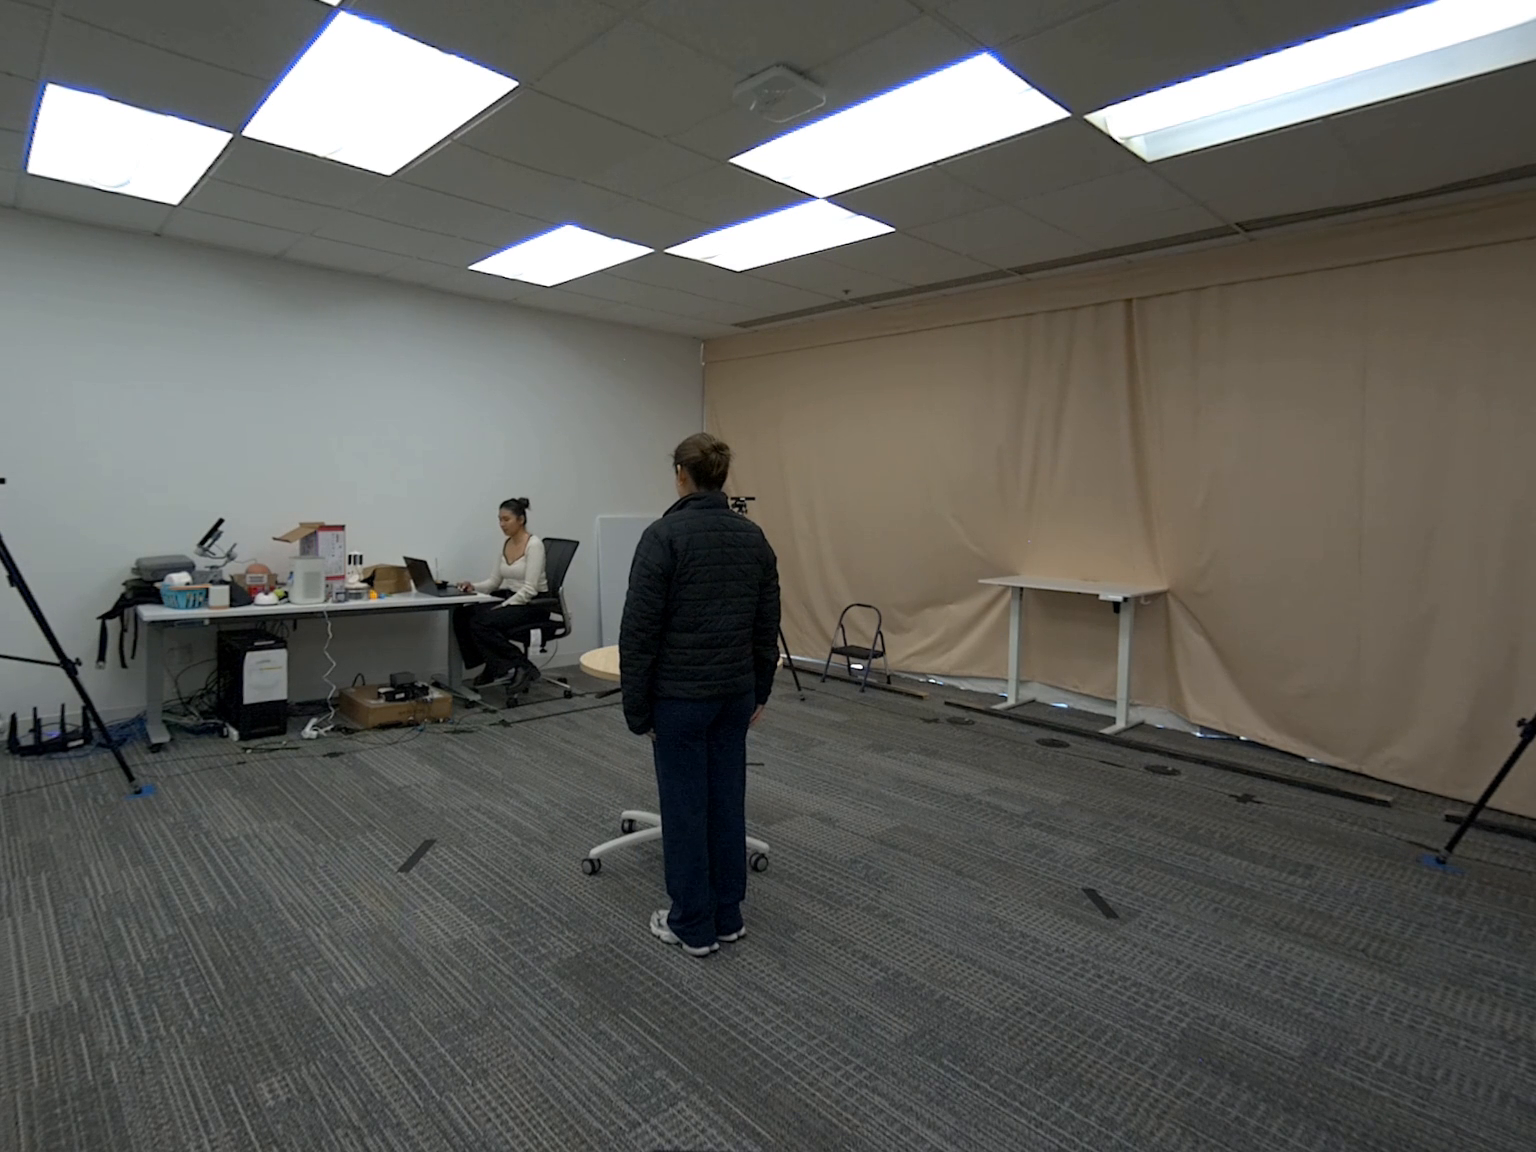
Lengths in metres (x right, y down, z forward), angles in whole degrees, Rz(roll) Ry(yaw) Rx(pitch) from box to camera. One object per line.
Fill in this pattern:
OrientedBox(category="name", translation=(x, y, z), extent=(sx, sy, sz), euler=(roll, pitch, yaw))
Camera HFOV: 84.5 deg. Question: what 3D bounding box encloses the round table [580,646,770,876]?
OrientedBox(category="round table", translation=(-0.327, 0.703, 3.210), extent=(0.784, 0.784, 0.788), euler=(1, 4, -1))
